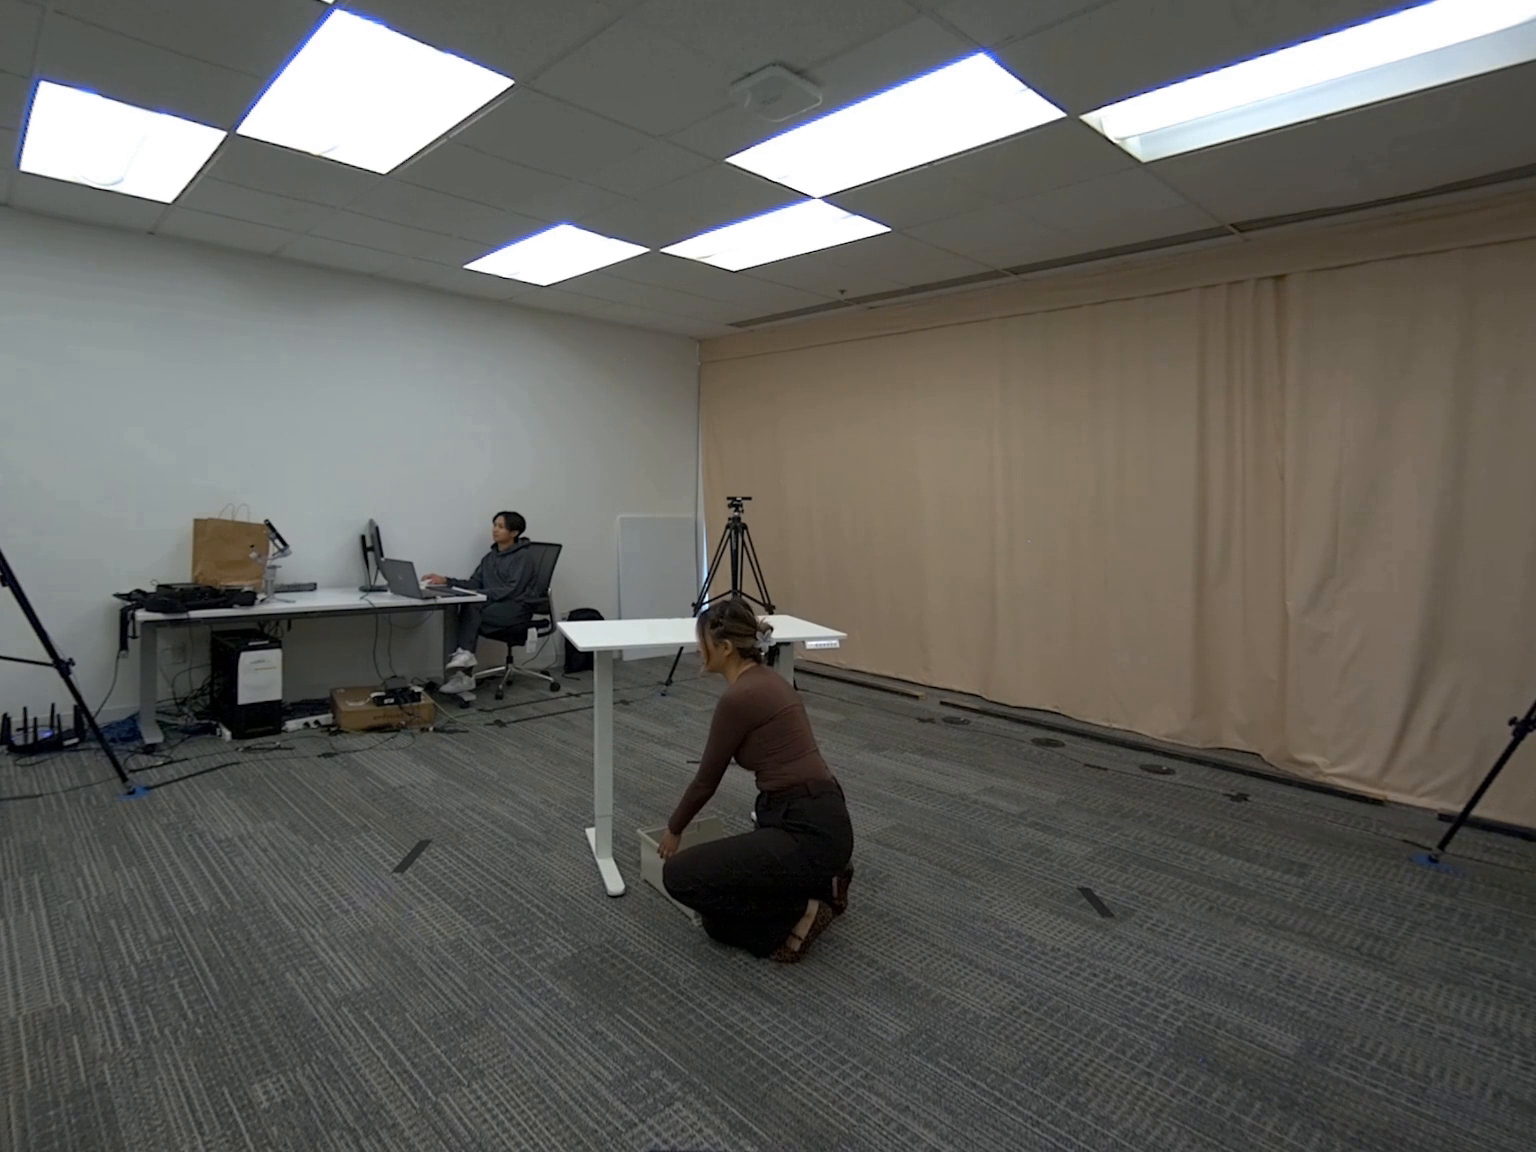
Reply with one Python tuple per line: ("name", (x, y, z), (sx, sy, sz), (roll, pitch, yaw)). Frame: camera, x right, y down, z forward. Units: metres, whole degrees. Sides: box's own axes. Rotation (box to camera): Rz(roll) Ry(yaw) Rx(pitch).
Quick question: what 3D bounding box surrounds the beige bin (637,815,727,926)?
("beige bin", (-0.207, 1.031, 2.991), (0.369, 0.188, 0.433), (-4, 7, -34))
